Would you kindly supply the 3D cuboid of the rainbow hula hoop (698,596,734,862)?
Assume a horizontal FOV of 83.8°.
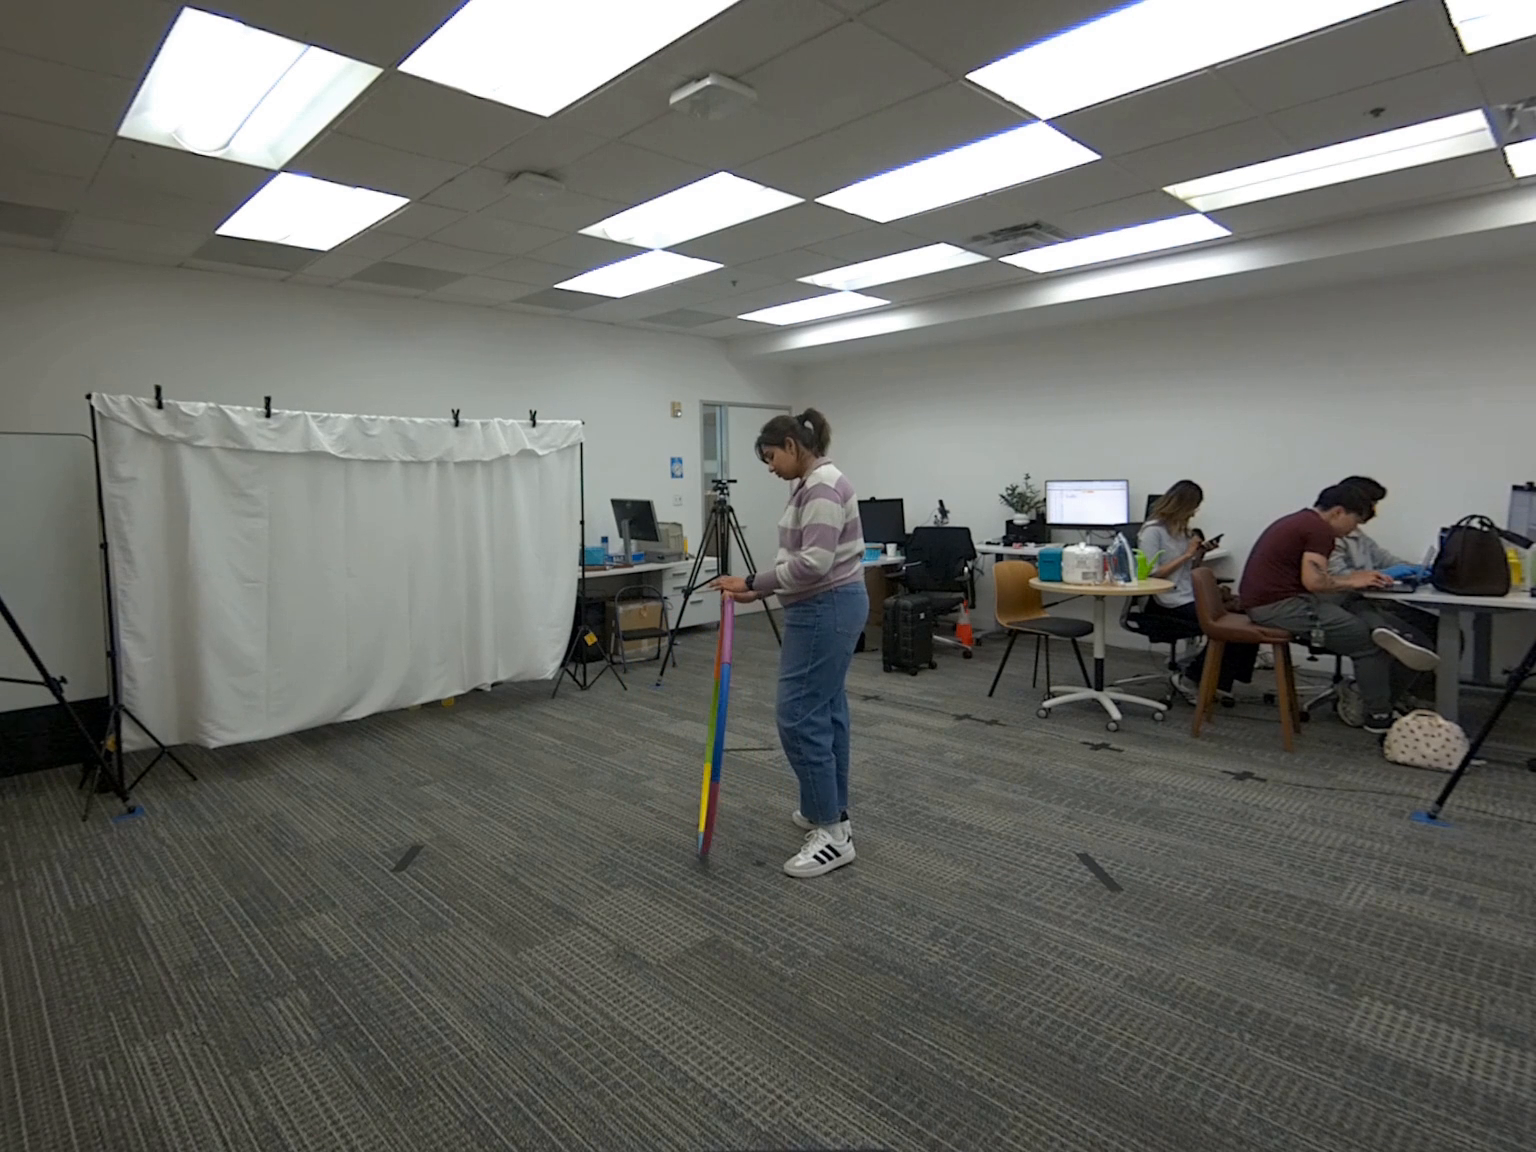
[{"bbox_3d":[-0.198,0.558,3.244,0.051,0.982,0.989,6,5,-2],"label":"rainbow hula hoop"}]
